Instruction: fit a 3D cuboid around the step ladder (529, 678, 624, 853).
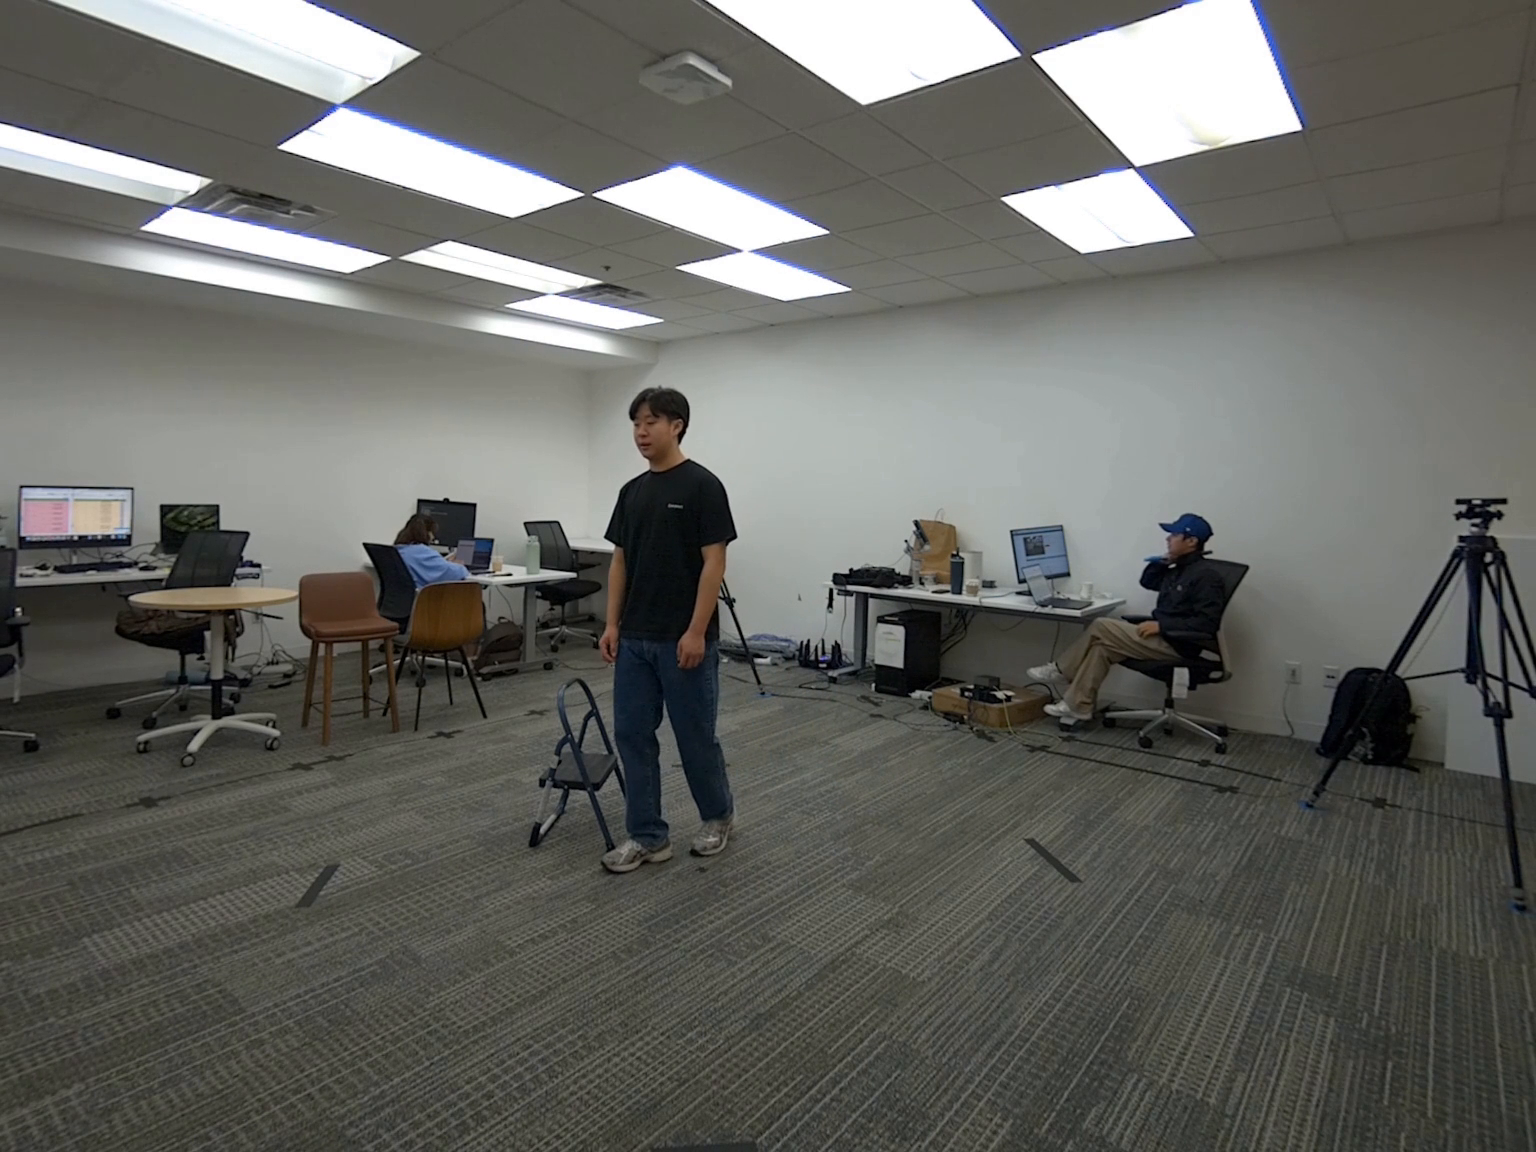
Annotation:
[{"bbox_3d":[-0.753,0.729,3.442,0.351,0.605,0.430,1,3,3],"label":"step ladder"}]
